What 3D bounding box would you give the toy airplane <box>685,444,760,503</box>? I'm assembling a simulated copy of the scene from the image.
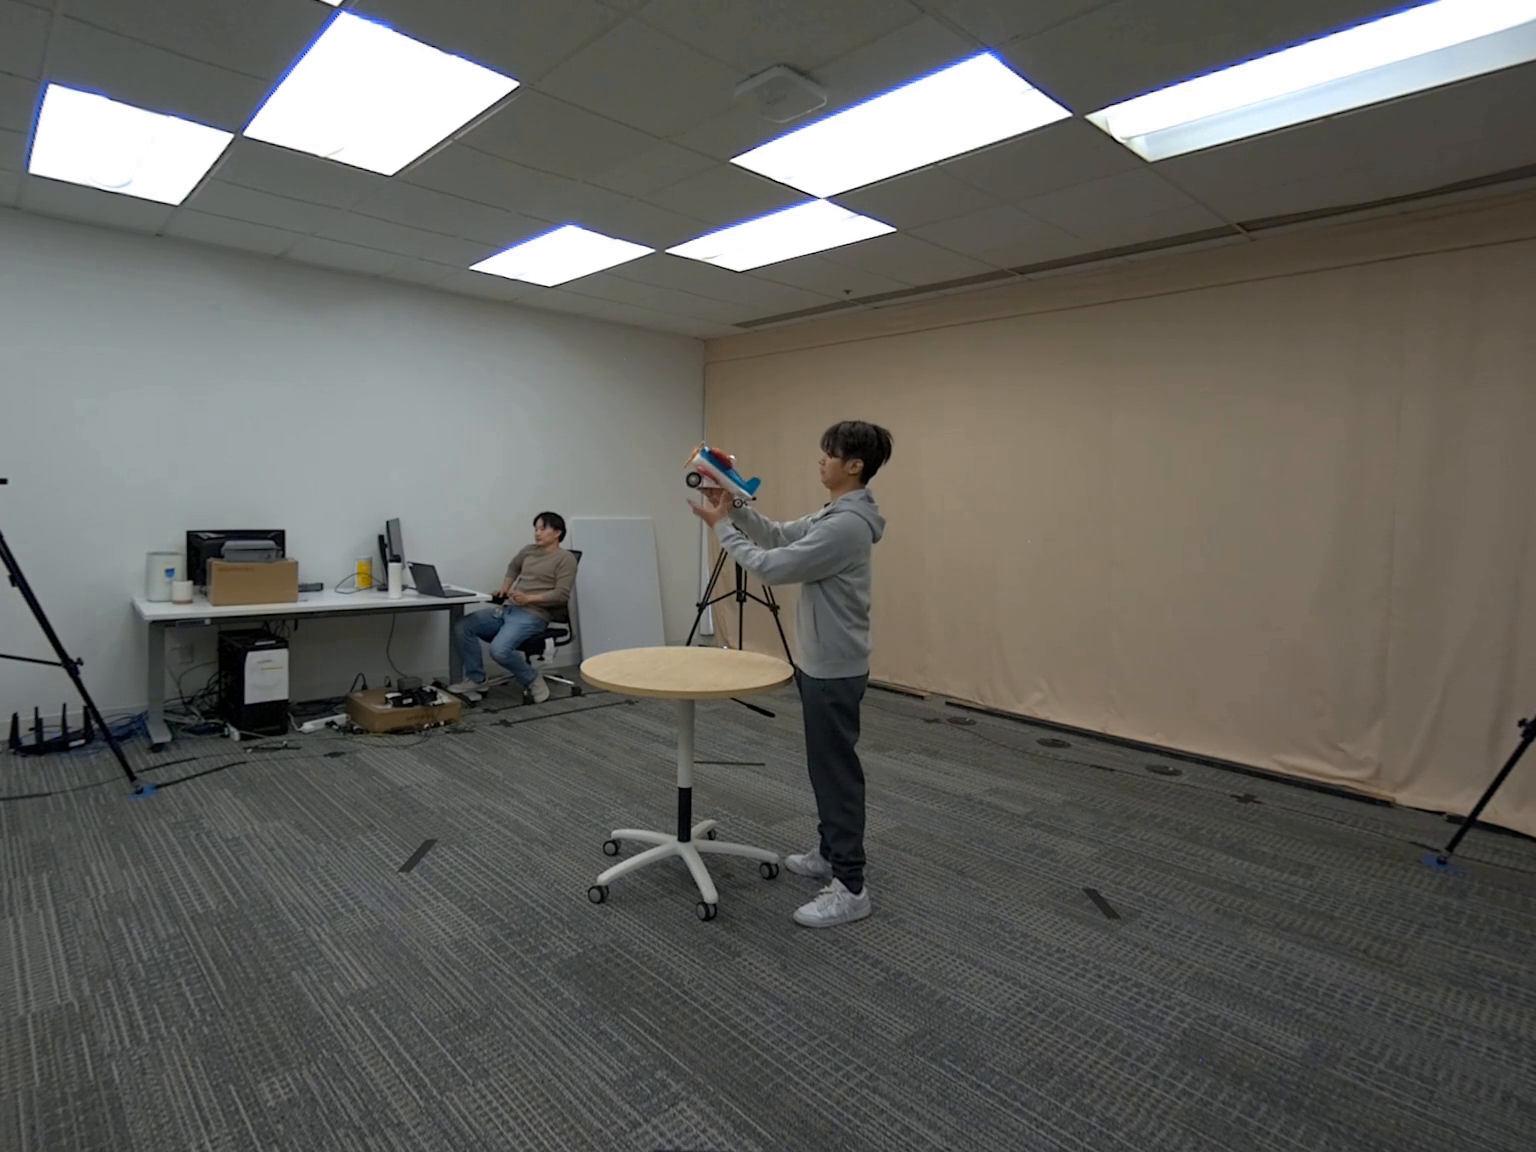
[{"bbox_3d":[-0.172,-0.307,2.970,0.252,0.156,0.258,23,3,-33],"label":"toy airplane"}]
